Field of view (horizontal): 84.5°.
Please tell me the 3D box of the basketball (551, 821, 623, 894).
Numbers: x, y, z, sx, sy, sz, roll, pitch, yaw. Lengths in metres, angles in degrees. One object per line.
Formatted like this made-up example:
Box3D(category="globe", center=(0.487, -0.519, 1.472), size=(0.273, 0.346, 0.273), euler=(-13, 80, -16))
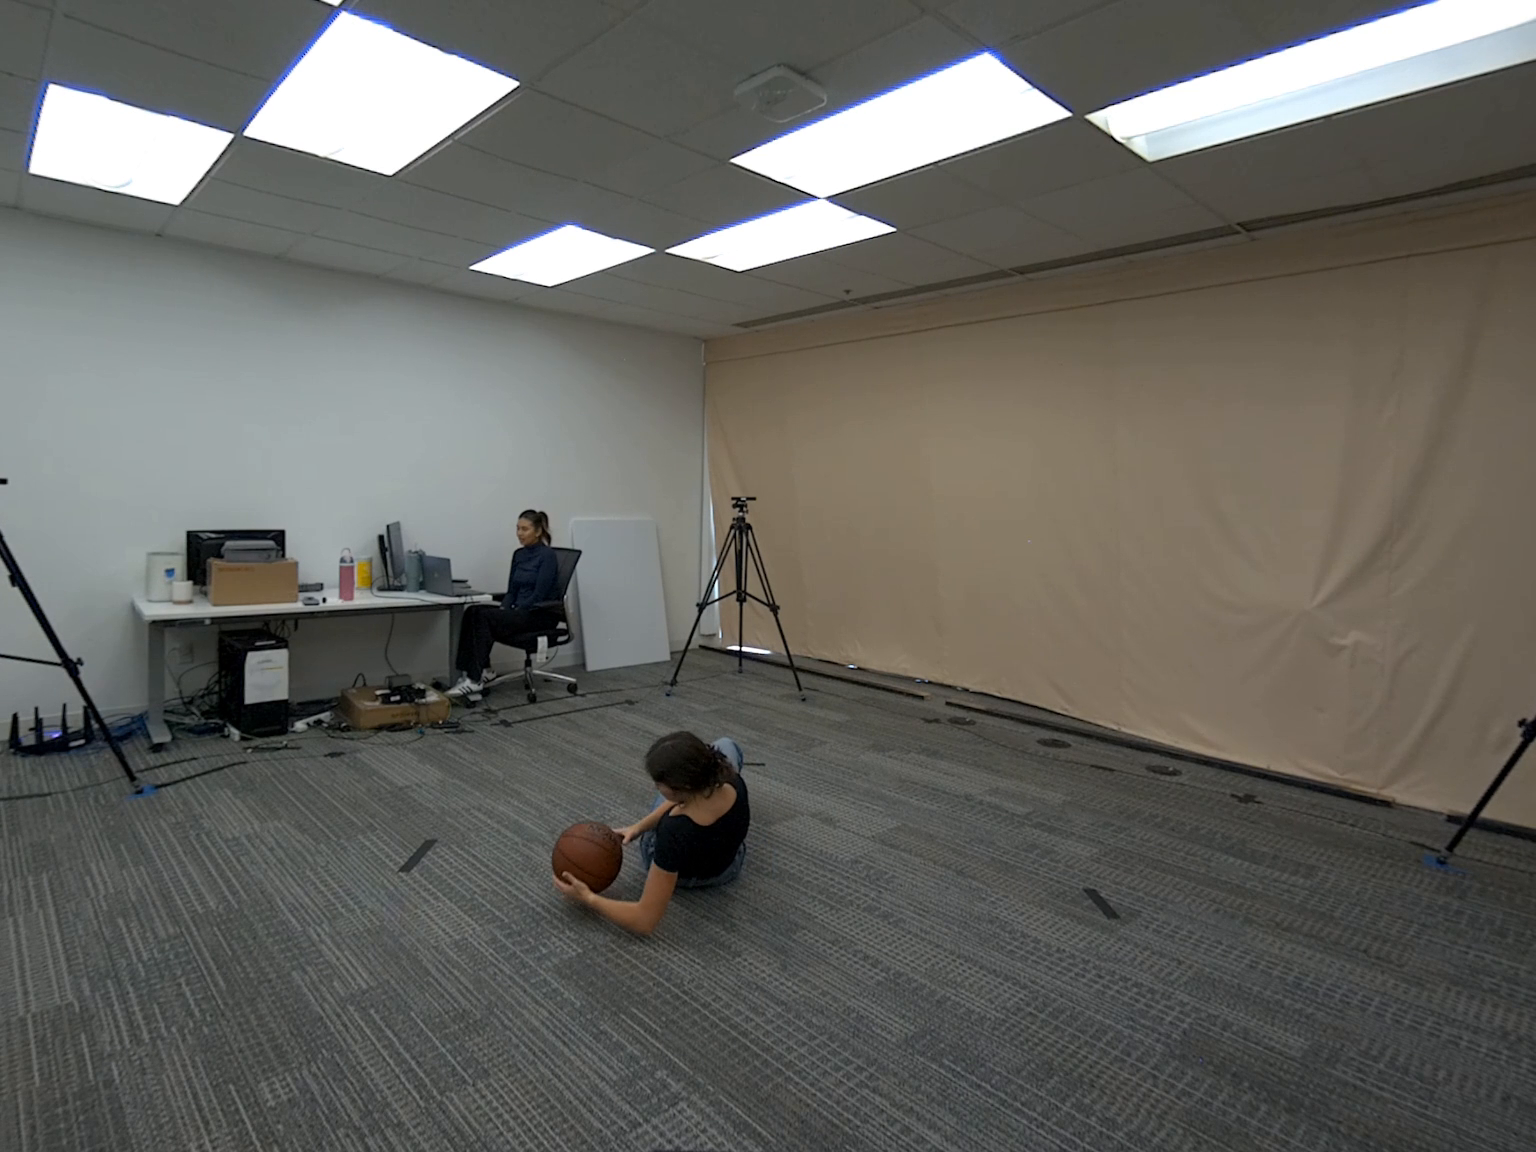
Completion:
Box3D(category="basketball", center=(-0.605, 0.933, 2.871), size=(0.236, 0.235, 0.237), euler=(1, 4, -1))
